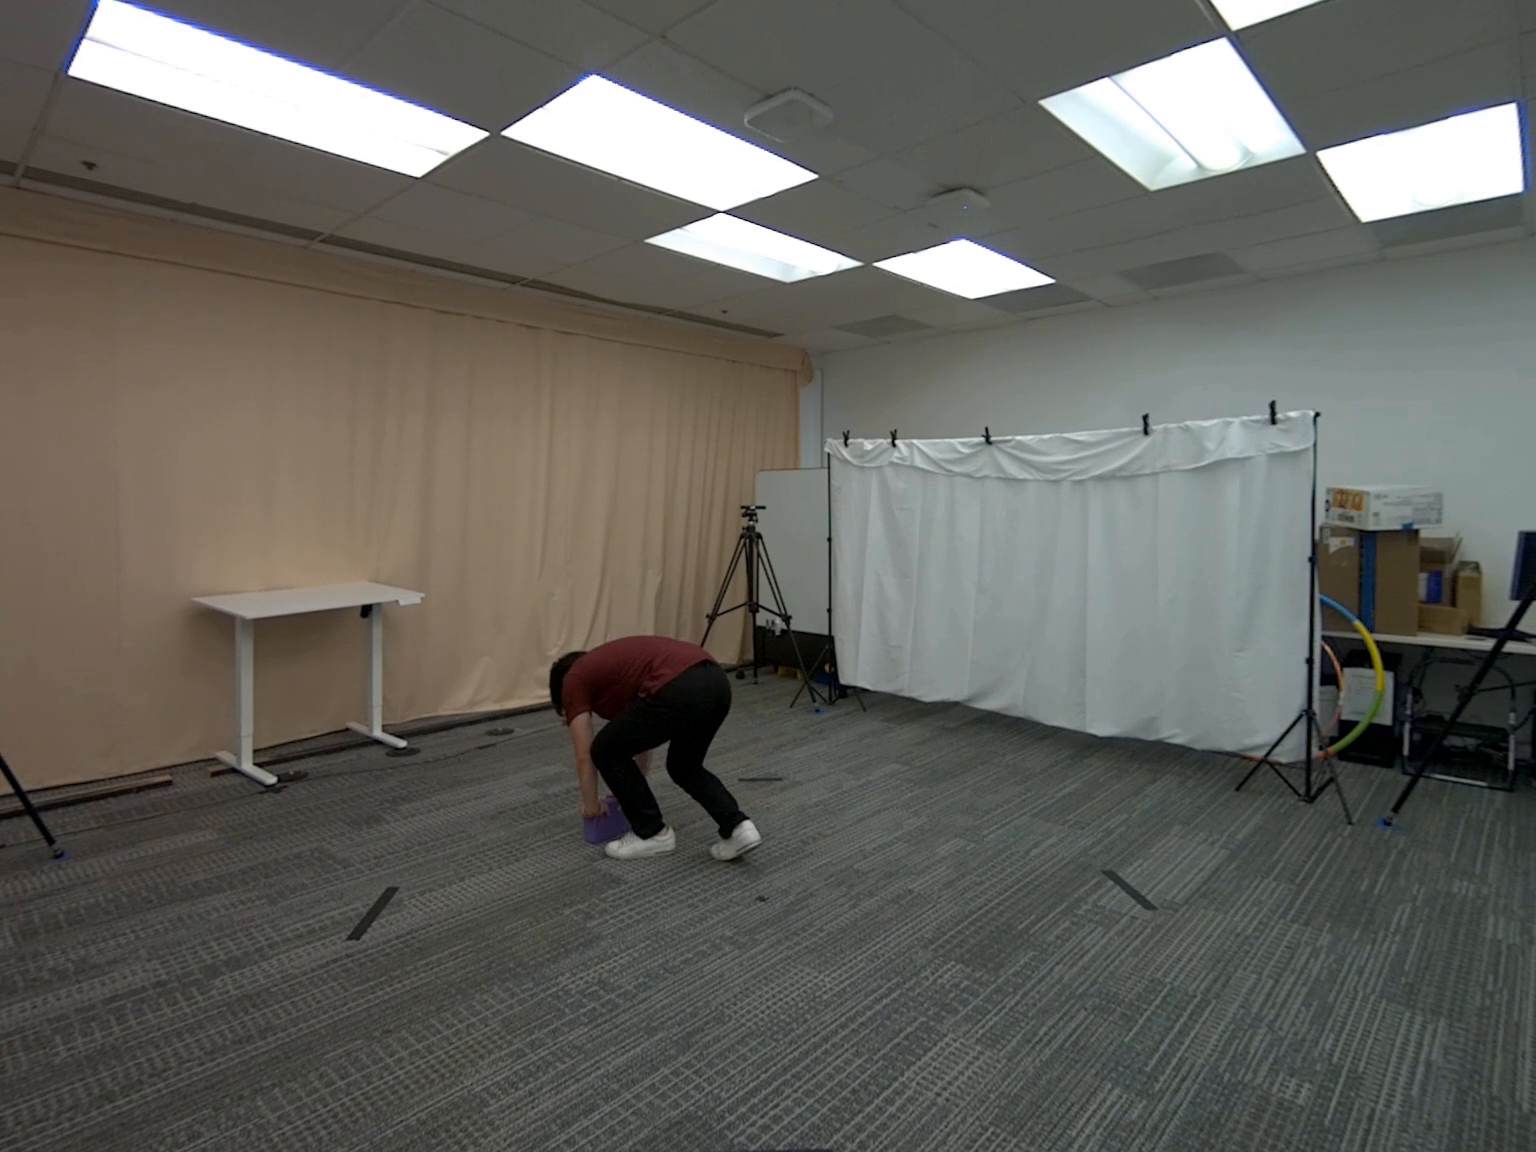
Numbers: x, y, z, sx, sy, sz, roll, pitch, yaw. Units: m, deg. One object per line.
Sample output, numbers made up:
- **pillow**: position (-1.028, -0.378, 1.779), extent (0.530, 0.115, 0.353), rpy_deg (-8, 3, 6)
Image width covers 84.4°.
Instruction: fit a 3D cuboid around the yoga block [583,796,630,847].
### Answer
- **yoga block**: position (-0.678, 1.030, 3.577), extent (0.079, 0.149, 0.223), rpy_deg (-5, 2, 39)
